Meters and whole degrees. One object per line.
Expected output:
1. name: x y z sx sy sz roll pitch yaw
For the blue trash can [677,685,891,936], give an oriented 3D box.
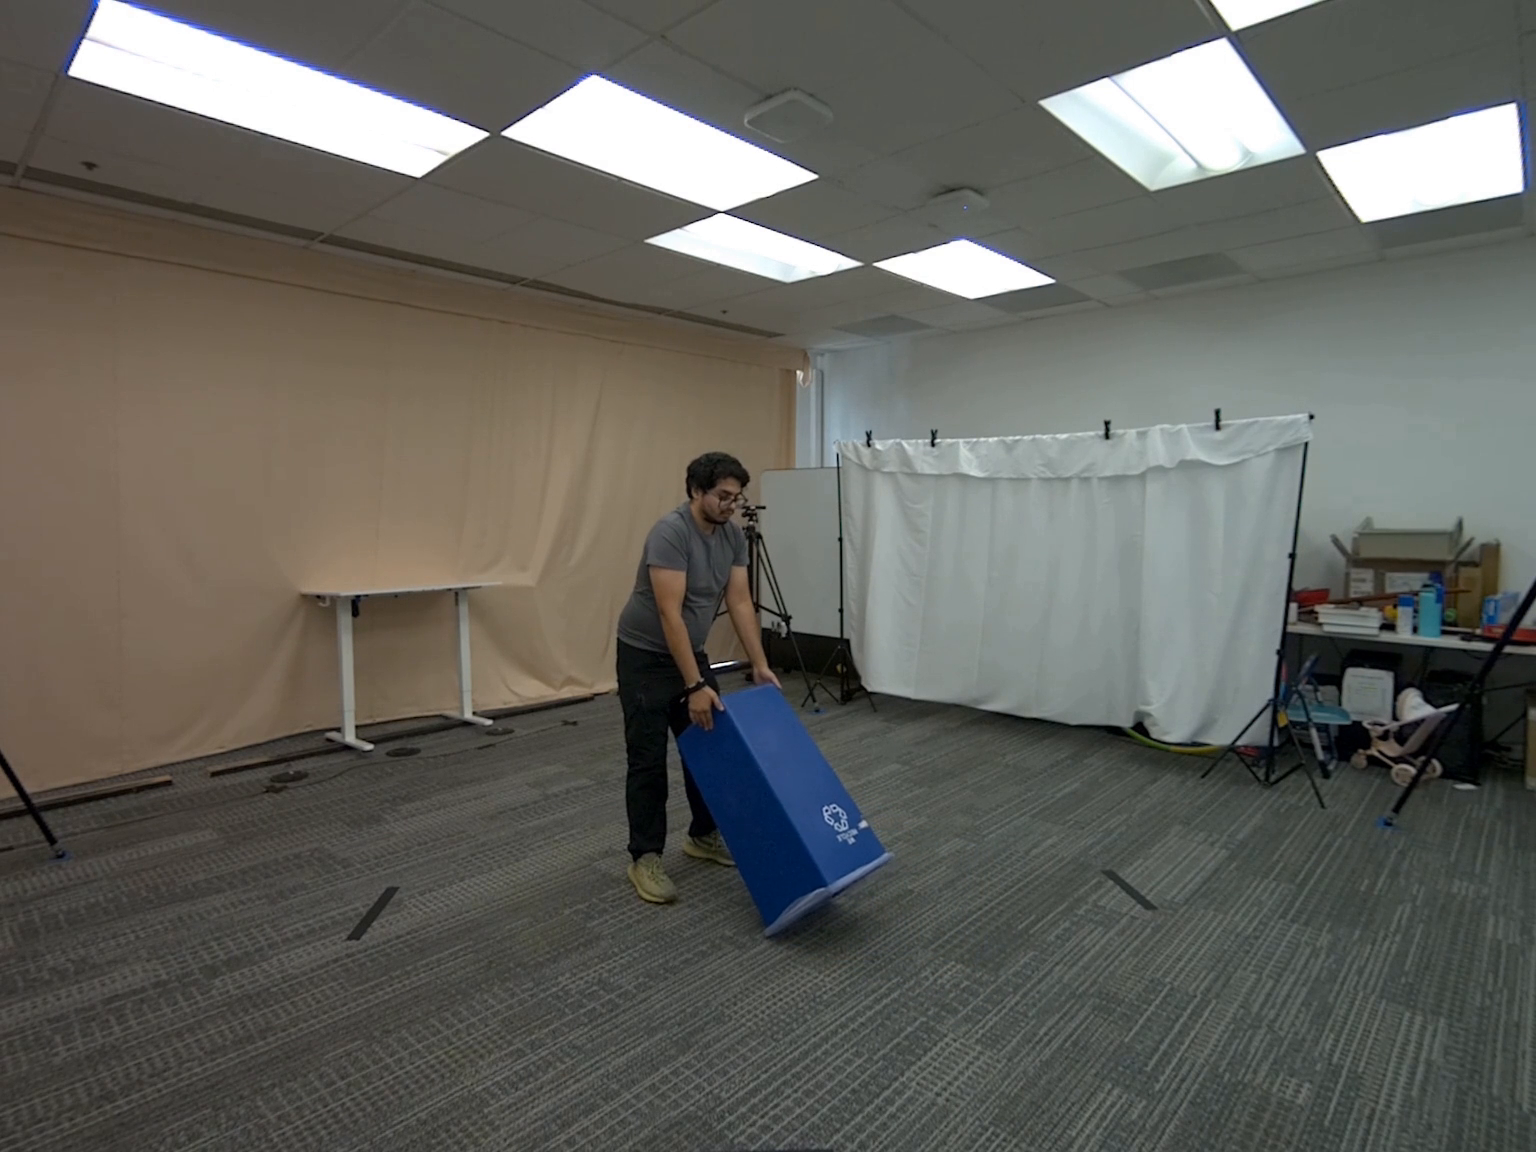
1. blue trash can: 0.028 0.777 2.882 0.363 0.731 0.380 -5 -37 -48
